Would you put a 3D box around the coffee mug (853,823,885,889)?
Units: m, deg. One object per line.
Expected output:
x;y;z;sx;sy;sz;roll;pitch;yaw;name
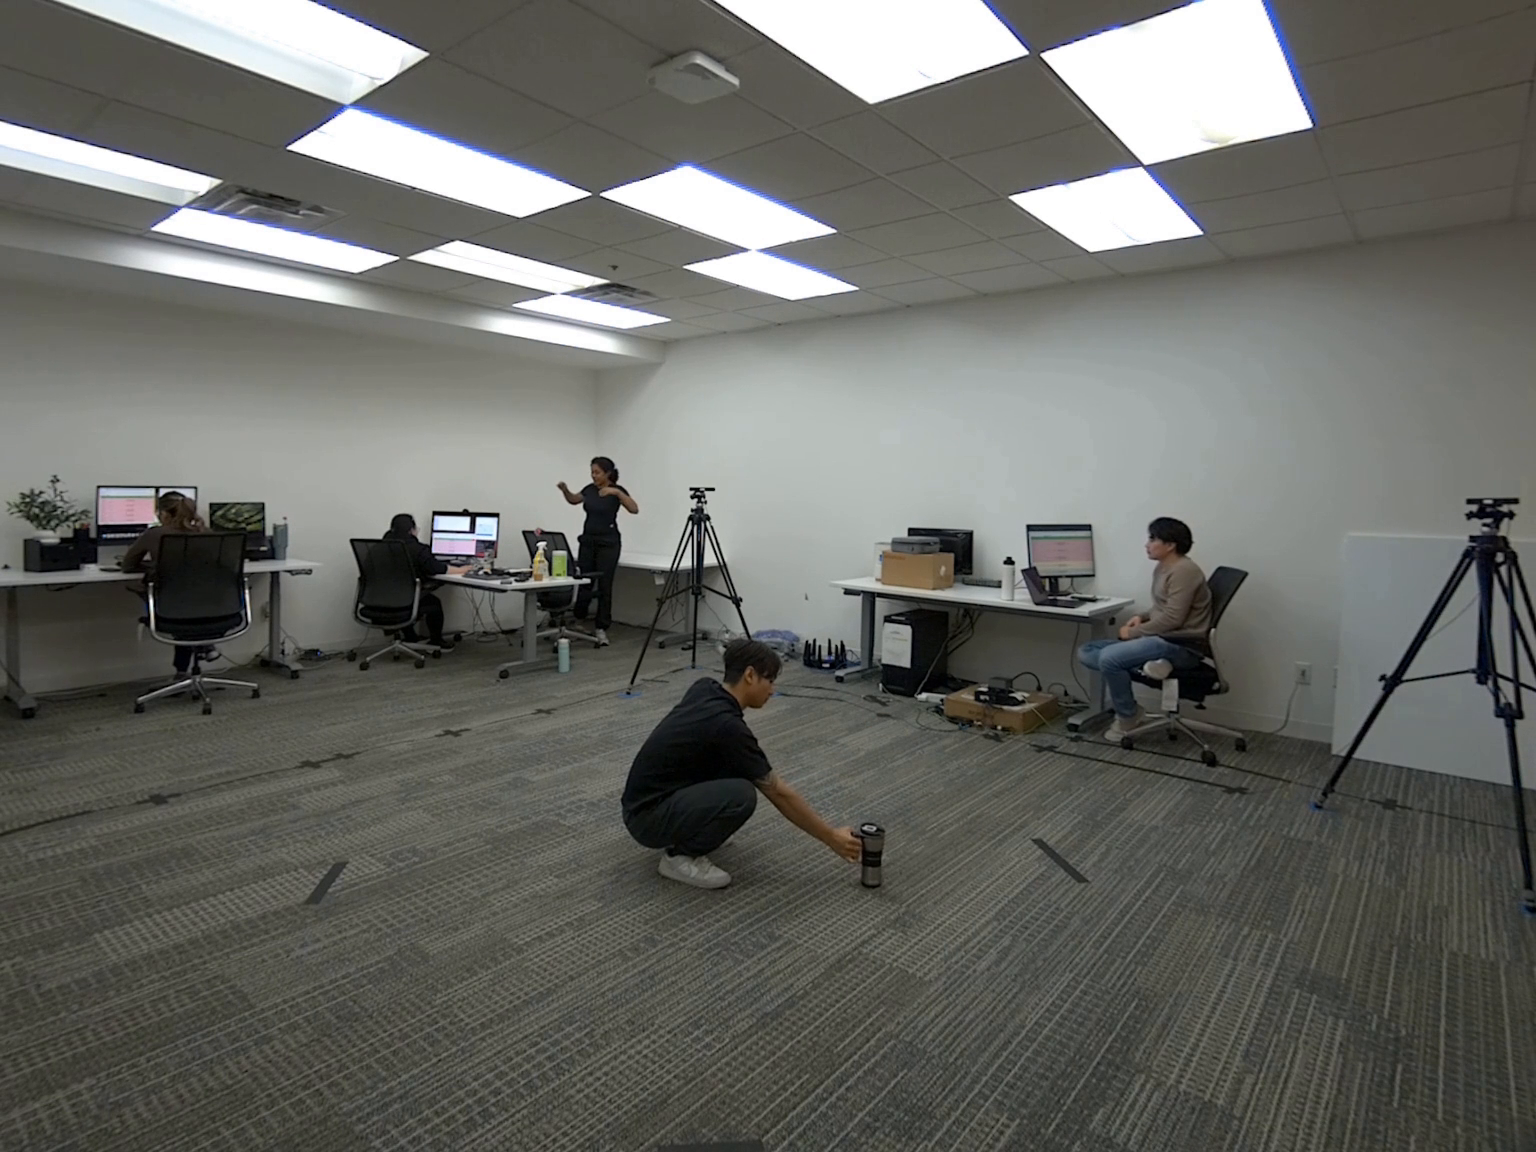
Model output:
0.347;0.992;3.023;0.126;0.201;0.085;11;14;38;coffee mug
